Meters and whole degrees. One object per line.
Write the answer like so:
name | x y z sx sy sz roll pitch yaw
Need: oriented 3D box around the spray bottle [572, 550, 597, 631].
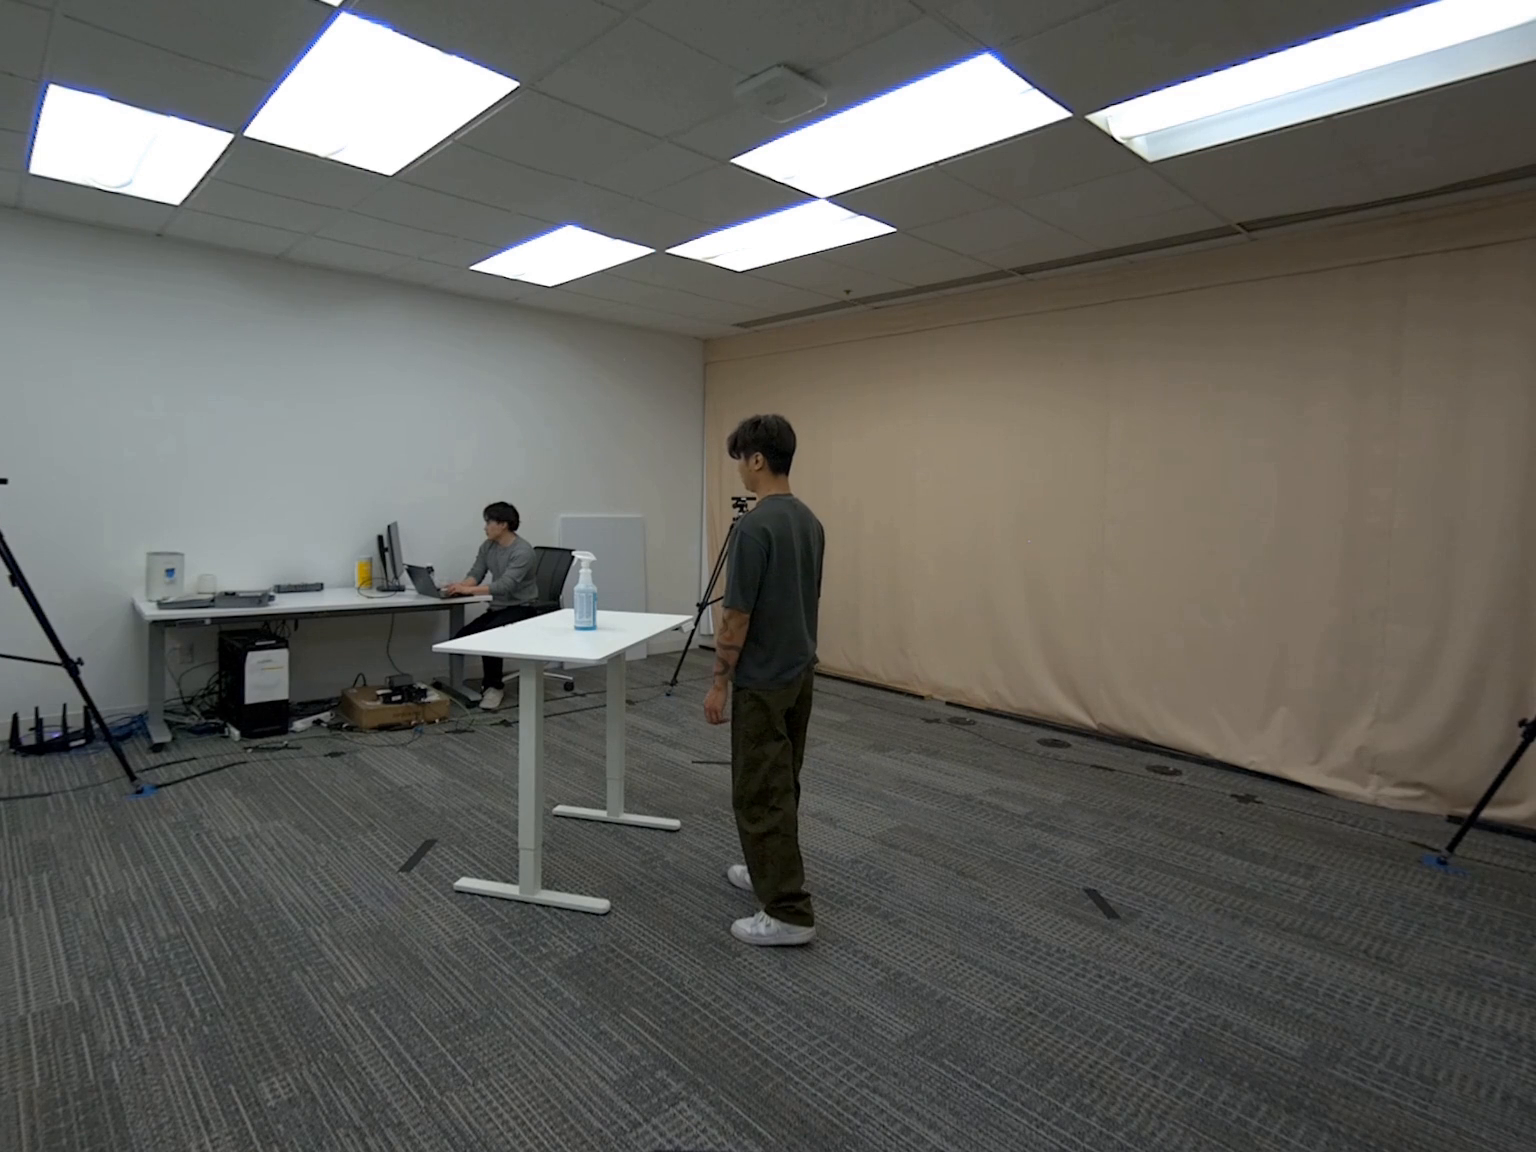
spray bottle | -0.699 0.057 3.201 0.092 0.296 0.085 3 7 29
